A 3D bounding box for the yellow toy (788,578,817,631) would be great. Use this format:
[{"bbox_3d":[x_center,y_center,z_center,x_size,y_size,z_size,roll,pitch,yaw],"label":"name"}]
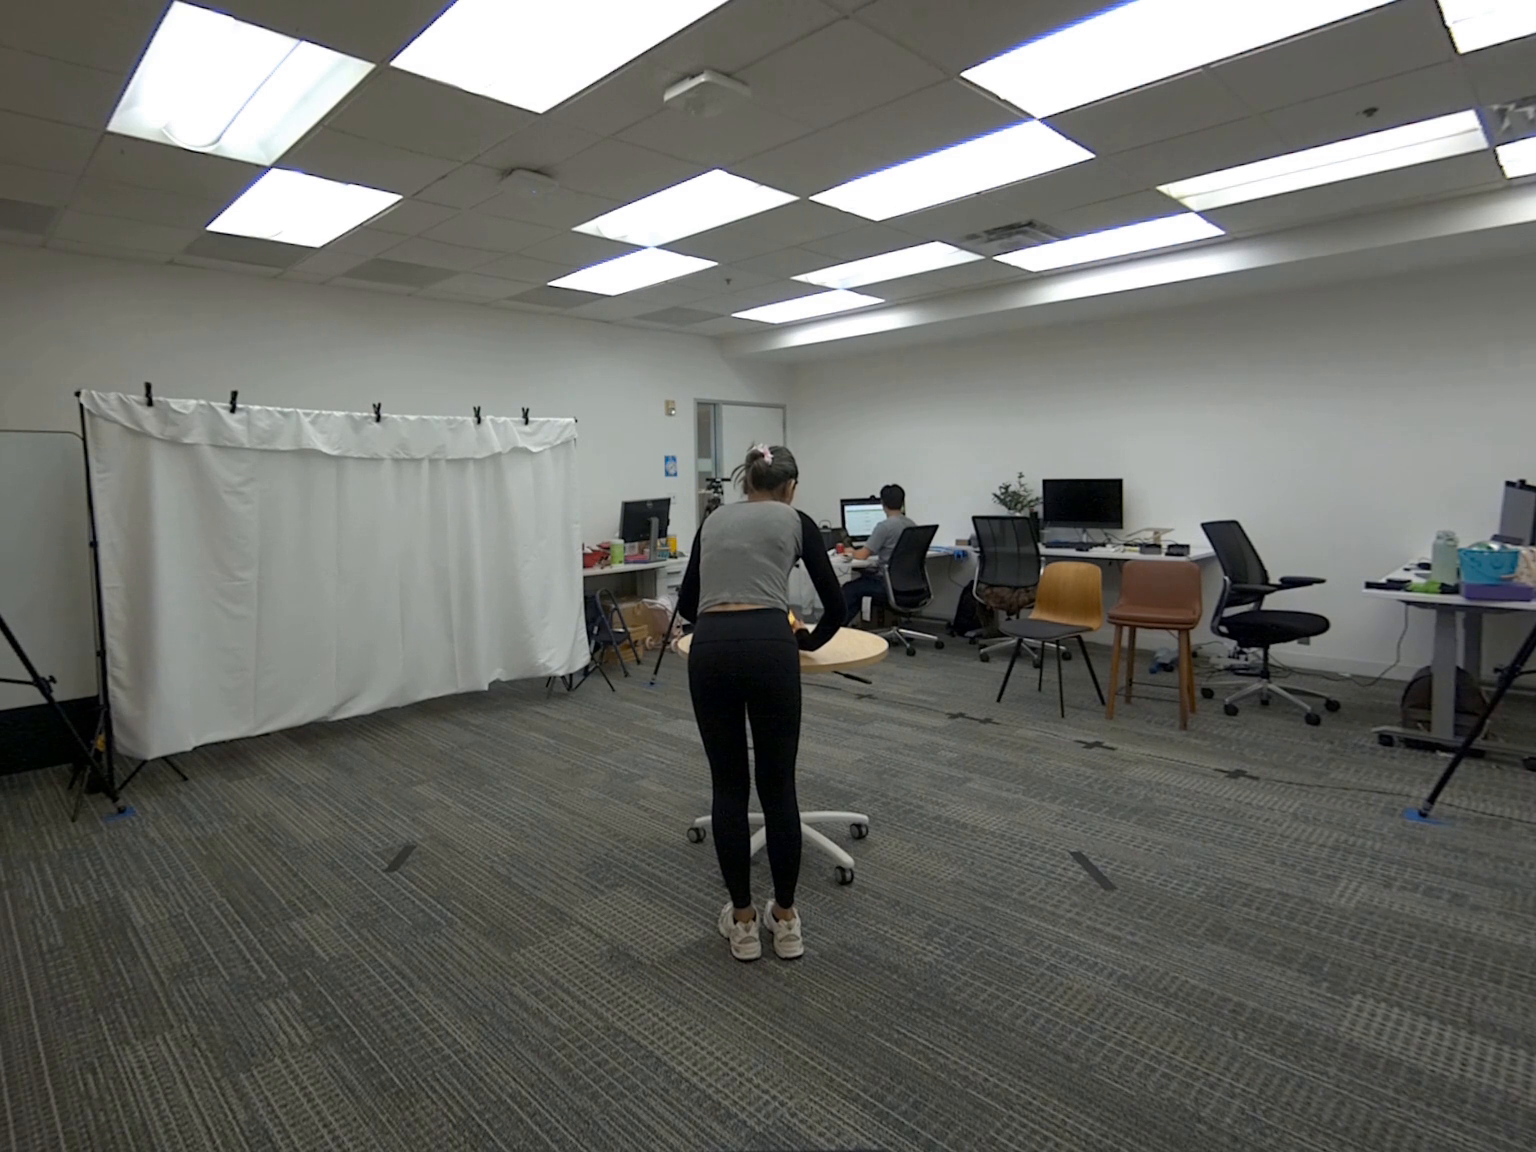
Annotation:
[{"bbox_3d":[0.031,0.132,3.026,0.189,0.231,0.209,-4,1,-28],"label":"yellow toy"}]
